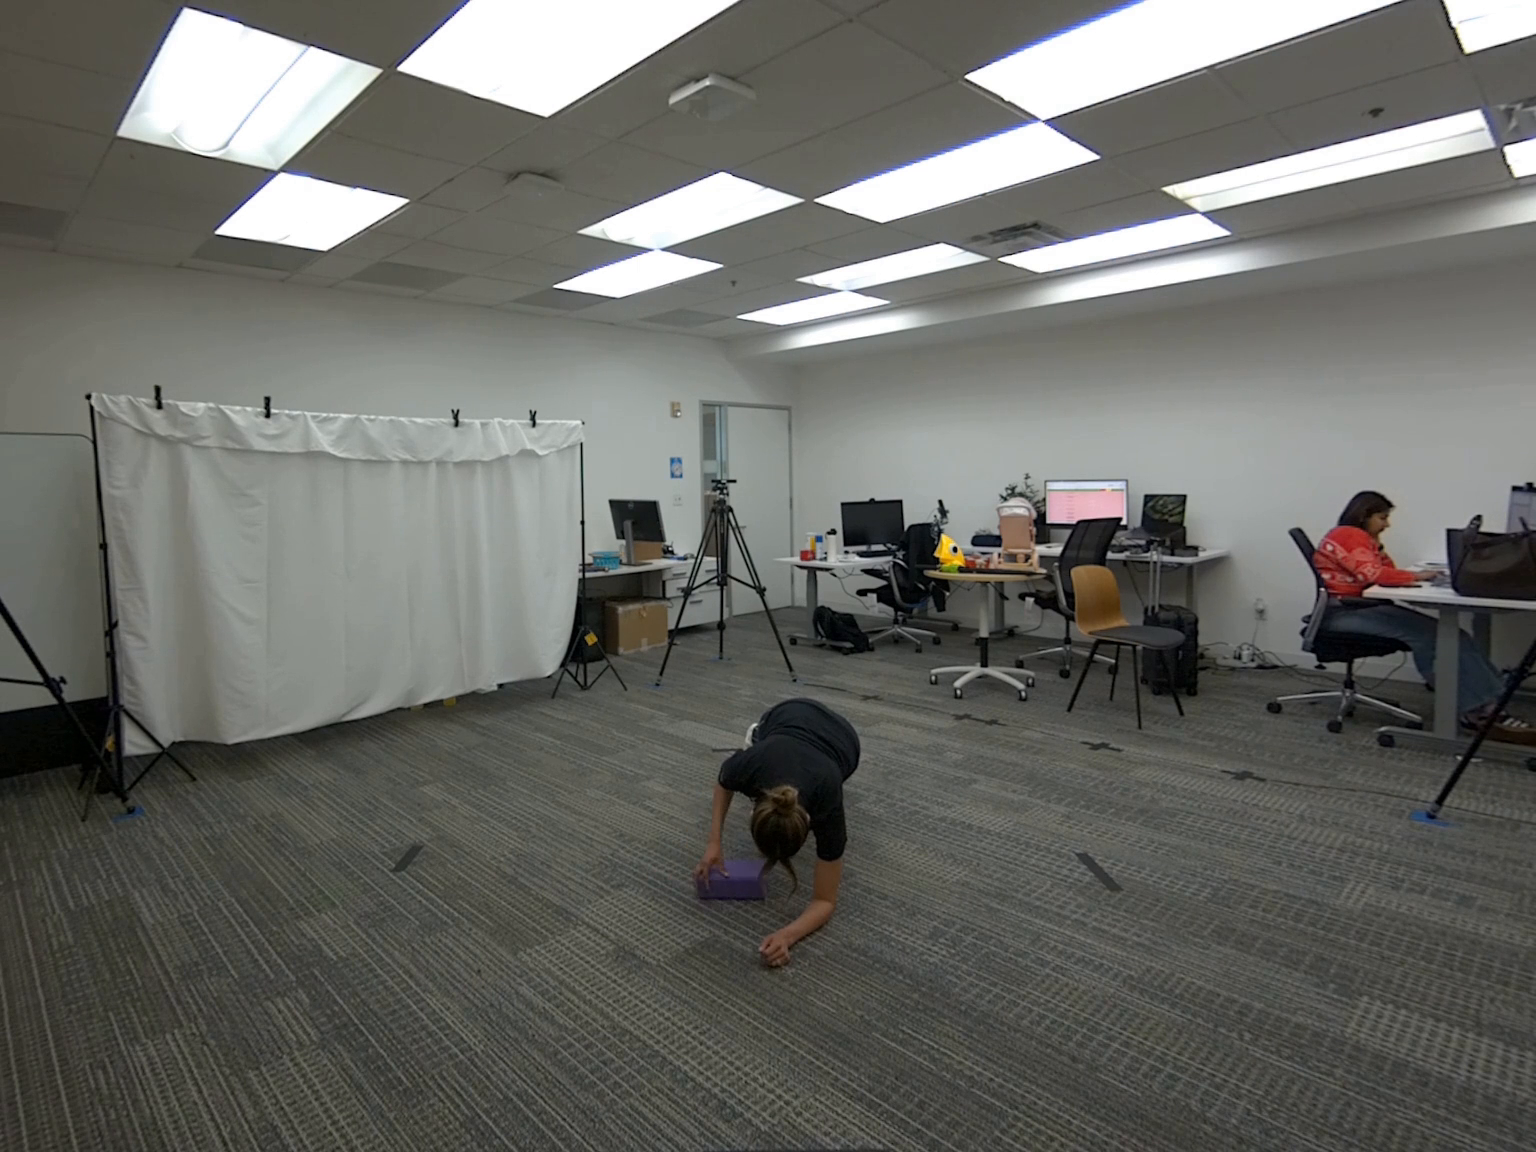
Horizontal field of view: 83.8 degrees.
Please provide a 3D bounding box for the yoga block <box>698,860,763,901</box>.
[{"bbox_3d":[-0.117,1.034,2.908,0.230,0.076,0.149,-1,5,5],"label":"yoga block"}]
